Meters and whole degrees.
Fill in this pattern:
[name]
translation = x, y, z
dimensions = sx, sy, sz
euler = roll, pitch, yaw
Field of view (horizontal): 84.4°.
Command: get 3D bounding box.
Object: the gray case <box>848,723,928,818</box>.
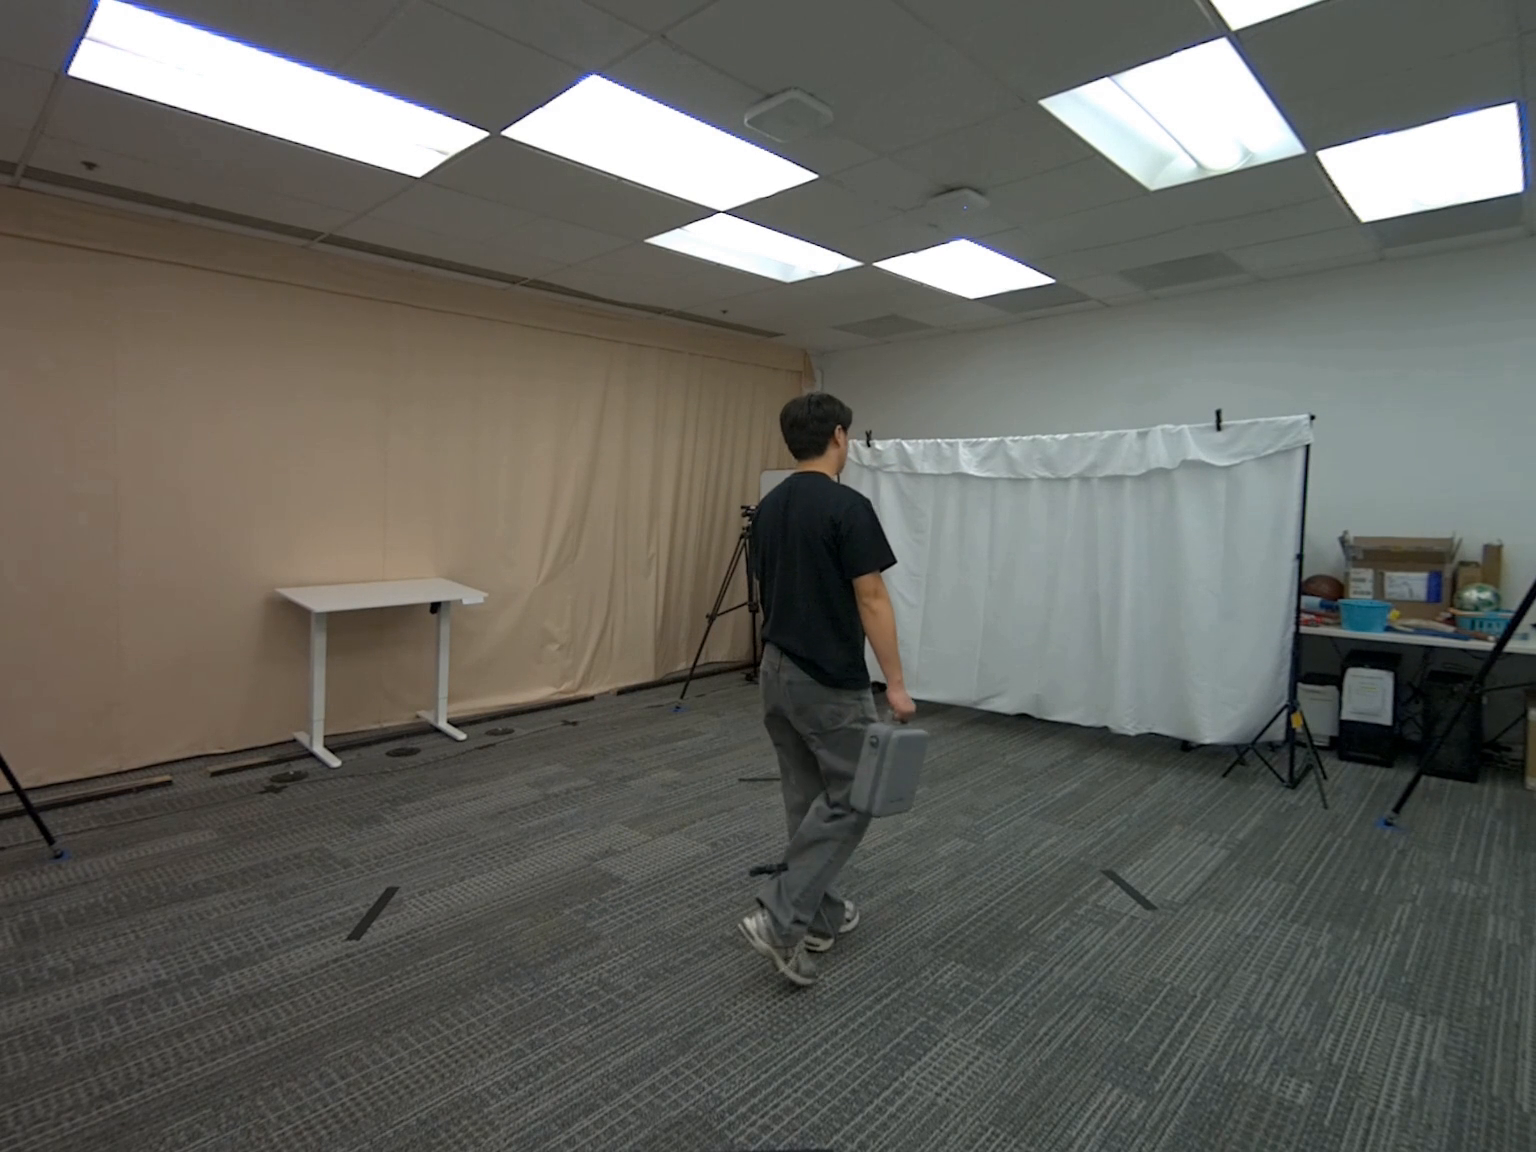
[gray case]
translation = 0.354, 0.540, 2.413
dimensions = 0.106, 0.287, 0.254
euler = 10, -2, 36
